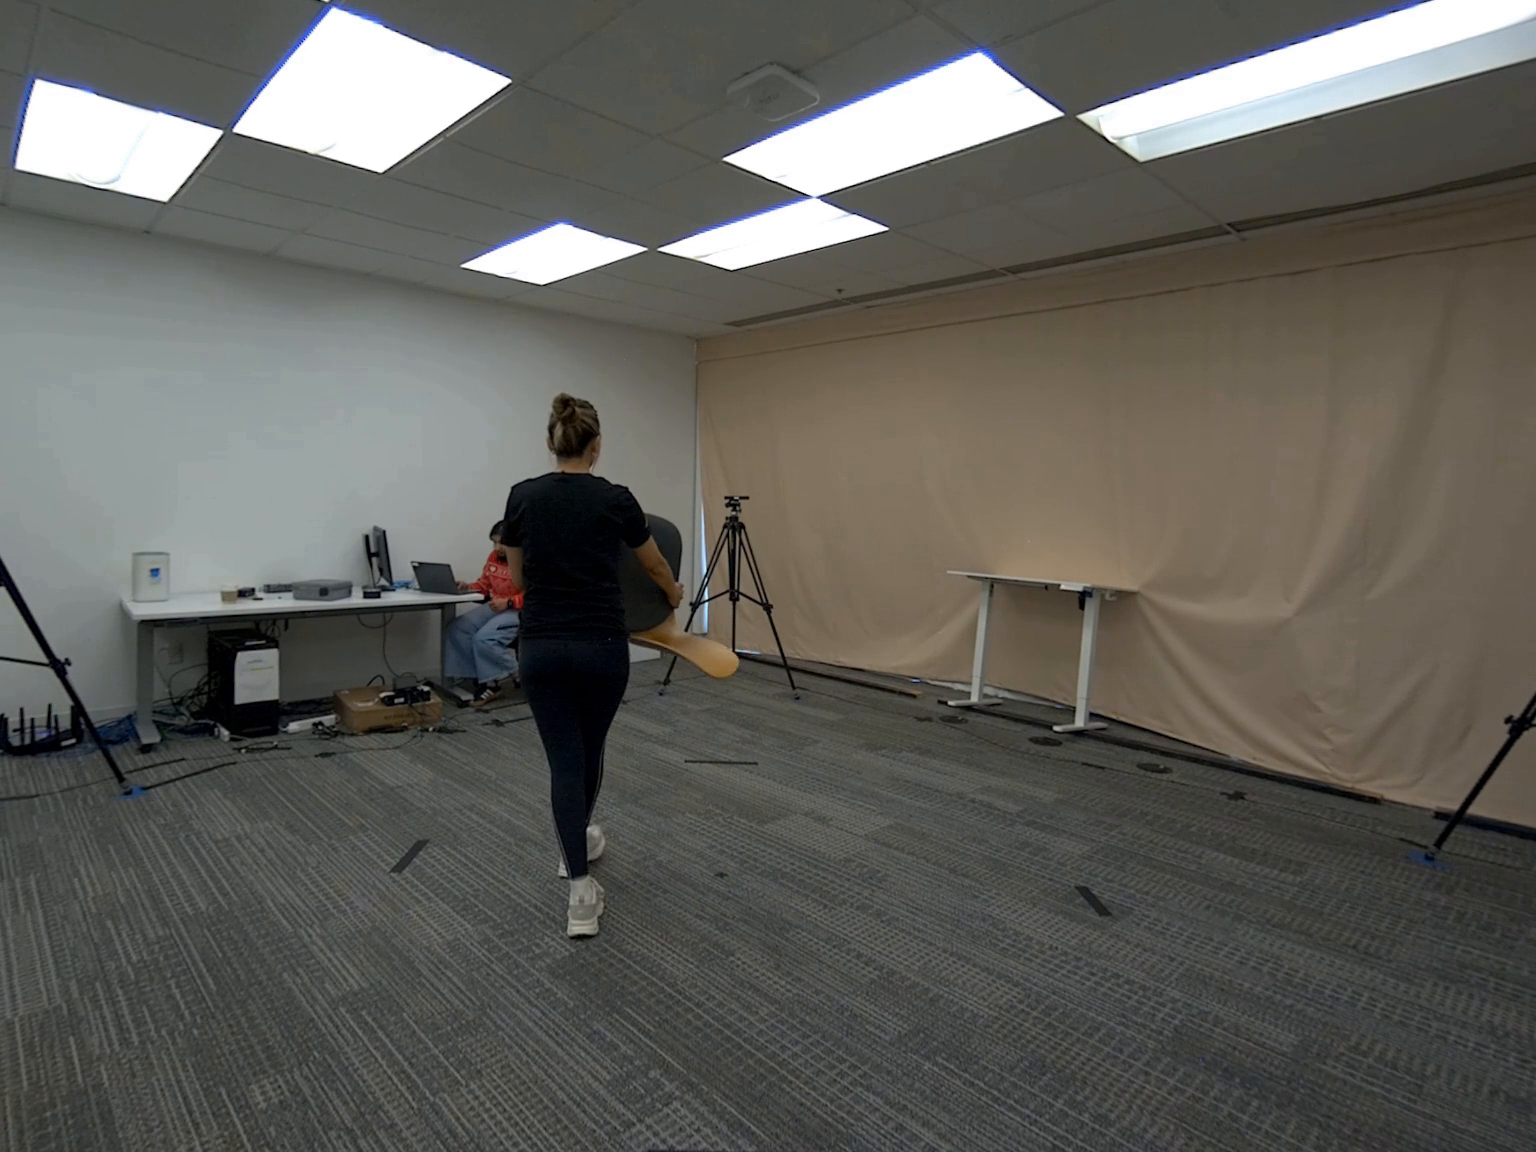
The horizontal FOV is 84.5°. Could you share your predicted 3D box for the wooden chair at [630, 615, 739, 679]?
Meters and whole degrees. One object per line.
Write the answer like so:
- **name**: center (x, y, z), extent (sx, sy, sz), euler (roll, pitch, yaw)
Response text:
- **wooden chair**: center (-0.502, 0.032, 3.130), extent (0.897, 0.523, 0.467), euler (12, 1, 27)
